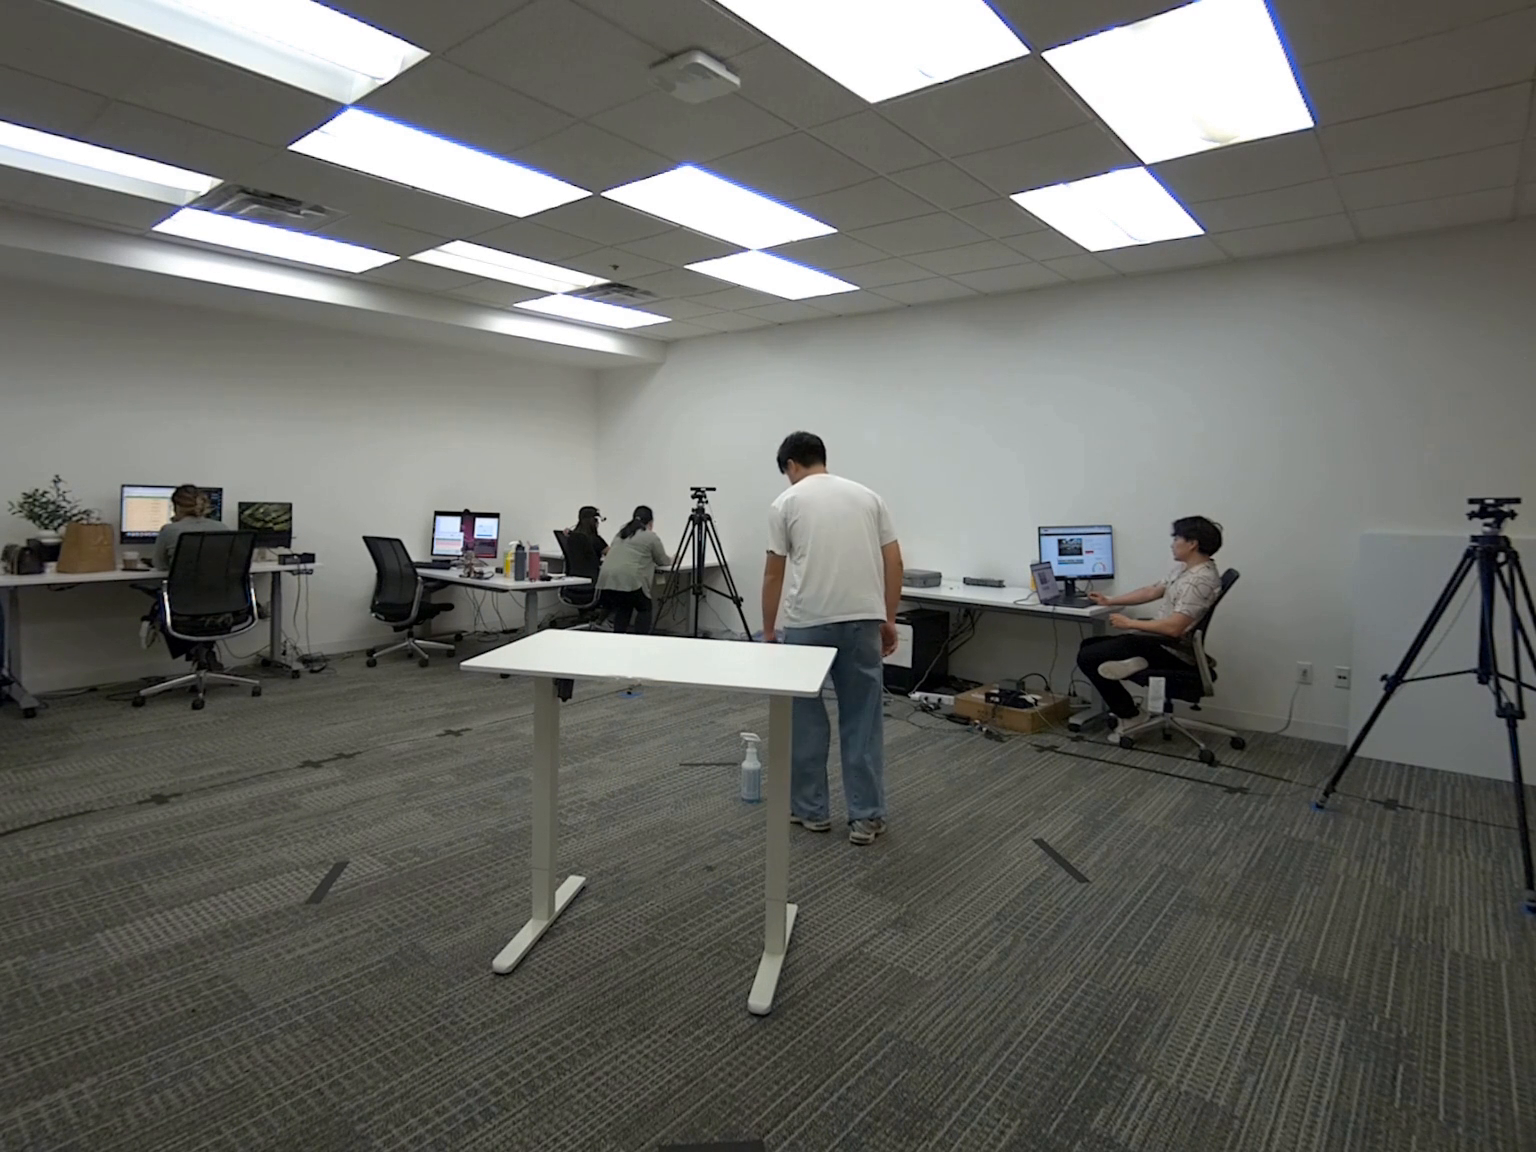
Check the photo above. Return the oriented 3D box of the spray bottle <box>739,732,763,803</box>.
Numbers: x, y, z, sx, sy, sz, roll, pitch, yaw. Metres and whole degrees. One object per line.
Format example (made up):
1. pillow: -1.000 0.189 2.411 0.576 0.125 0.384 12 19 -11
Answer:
1. spray bottle: -0.089 0.850 3.810 0.093 0.296 0.085 2 5 30
